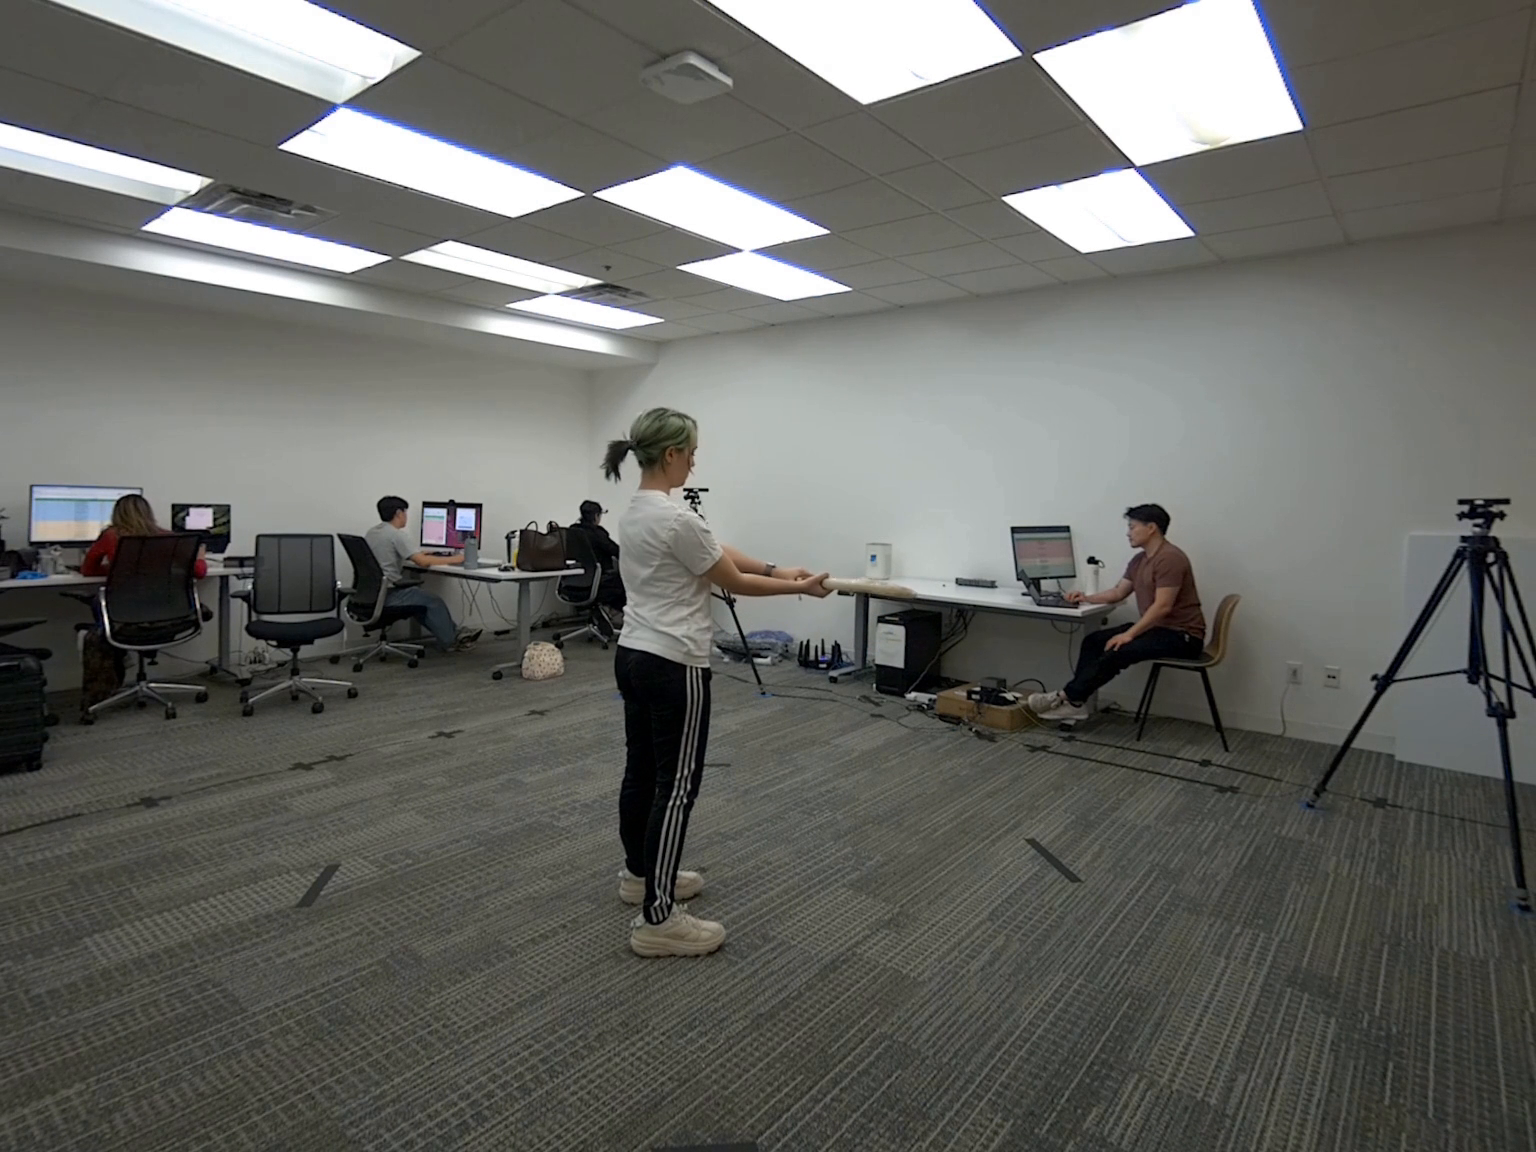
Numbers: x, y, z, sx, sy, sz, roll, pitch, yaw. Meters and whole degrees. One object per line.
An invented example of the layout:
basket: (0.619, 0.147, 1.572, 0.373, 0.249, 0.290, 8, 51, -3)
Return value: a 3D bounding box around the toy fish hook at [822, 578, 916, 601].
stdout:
toy fish hook: (0.250, 0.041, 2.798, 0.217, 0.048, 0.523, 13, -3, -34)
